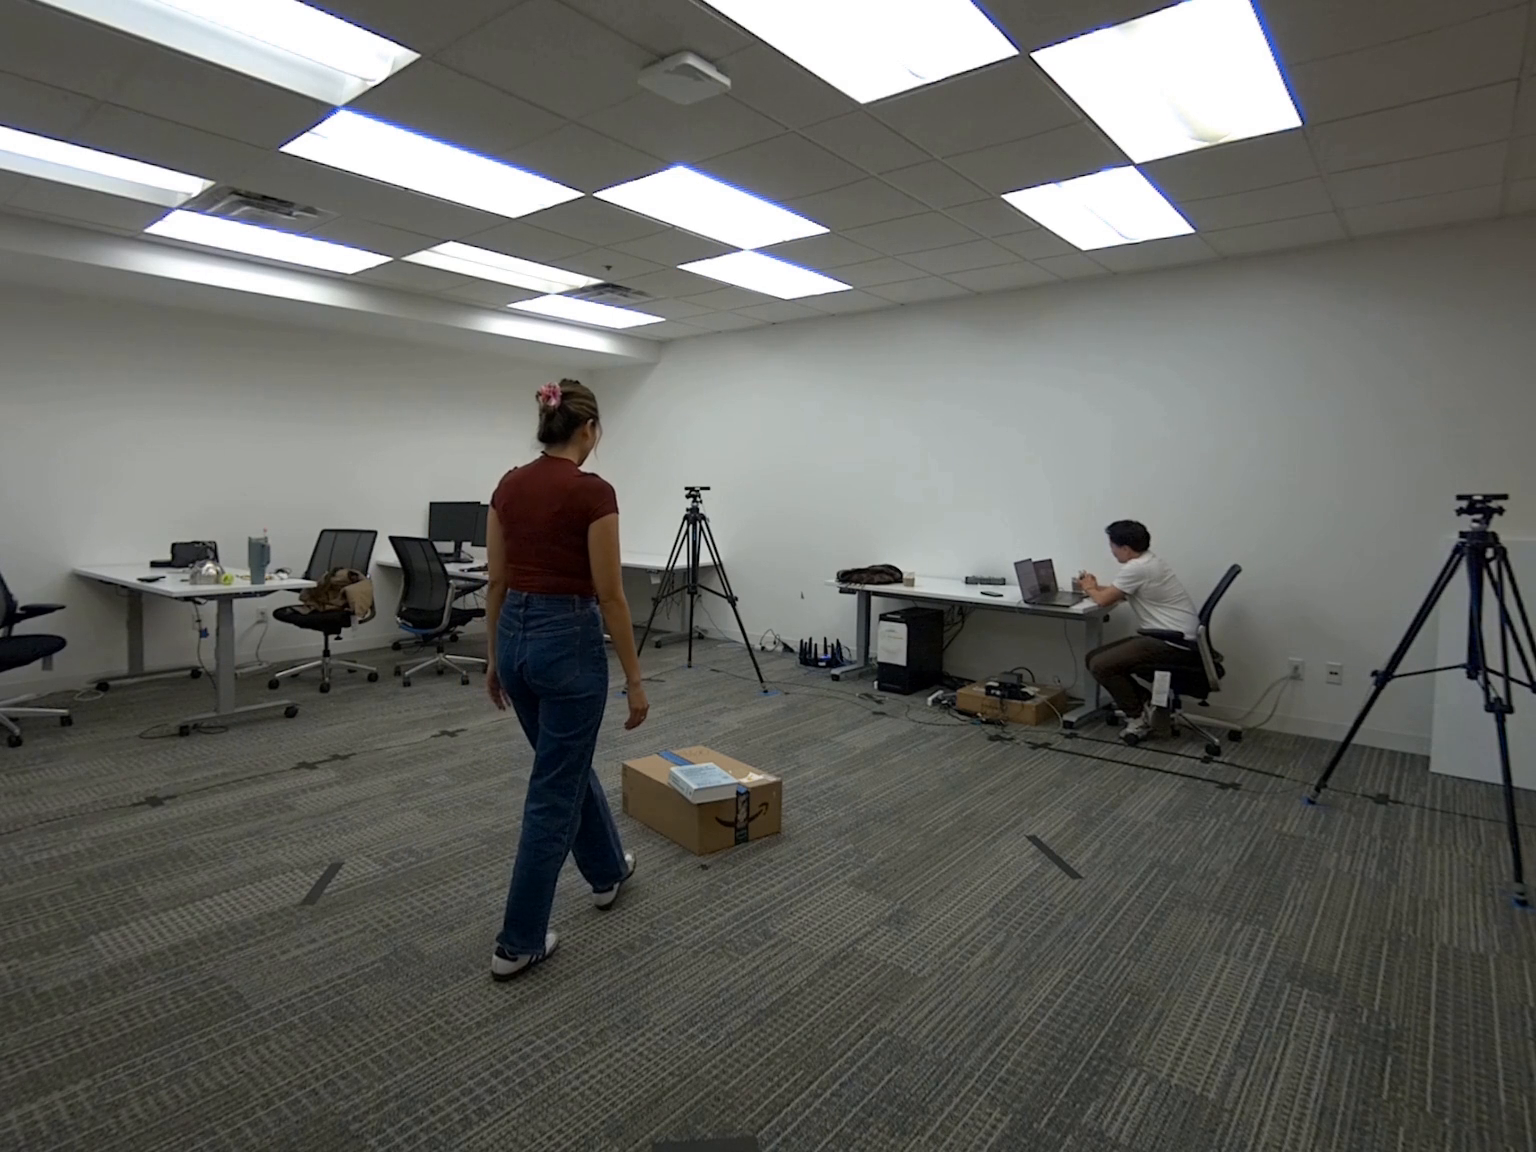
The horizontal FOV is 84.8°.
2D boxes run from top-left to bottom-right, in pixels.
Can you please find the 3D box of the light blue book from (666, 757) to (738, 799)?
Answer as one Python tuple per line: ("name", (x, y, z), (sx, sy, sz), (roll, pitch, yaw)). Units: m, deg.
("light blue book", (-0.265, 0.789, 3.308), (0.187, 0.059, 0.268), (-2, 6, -27))
